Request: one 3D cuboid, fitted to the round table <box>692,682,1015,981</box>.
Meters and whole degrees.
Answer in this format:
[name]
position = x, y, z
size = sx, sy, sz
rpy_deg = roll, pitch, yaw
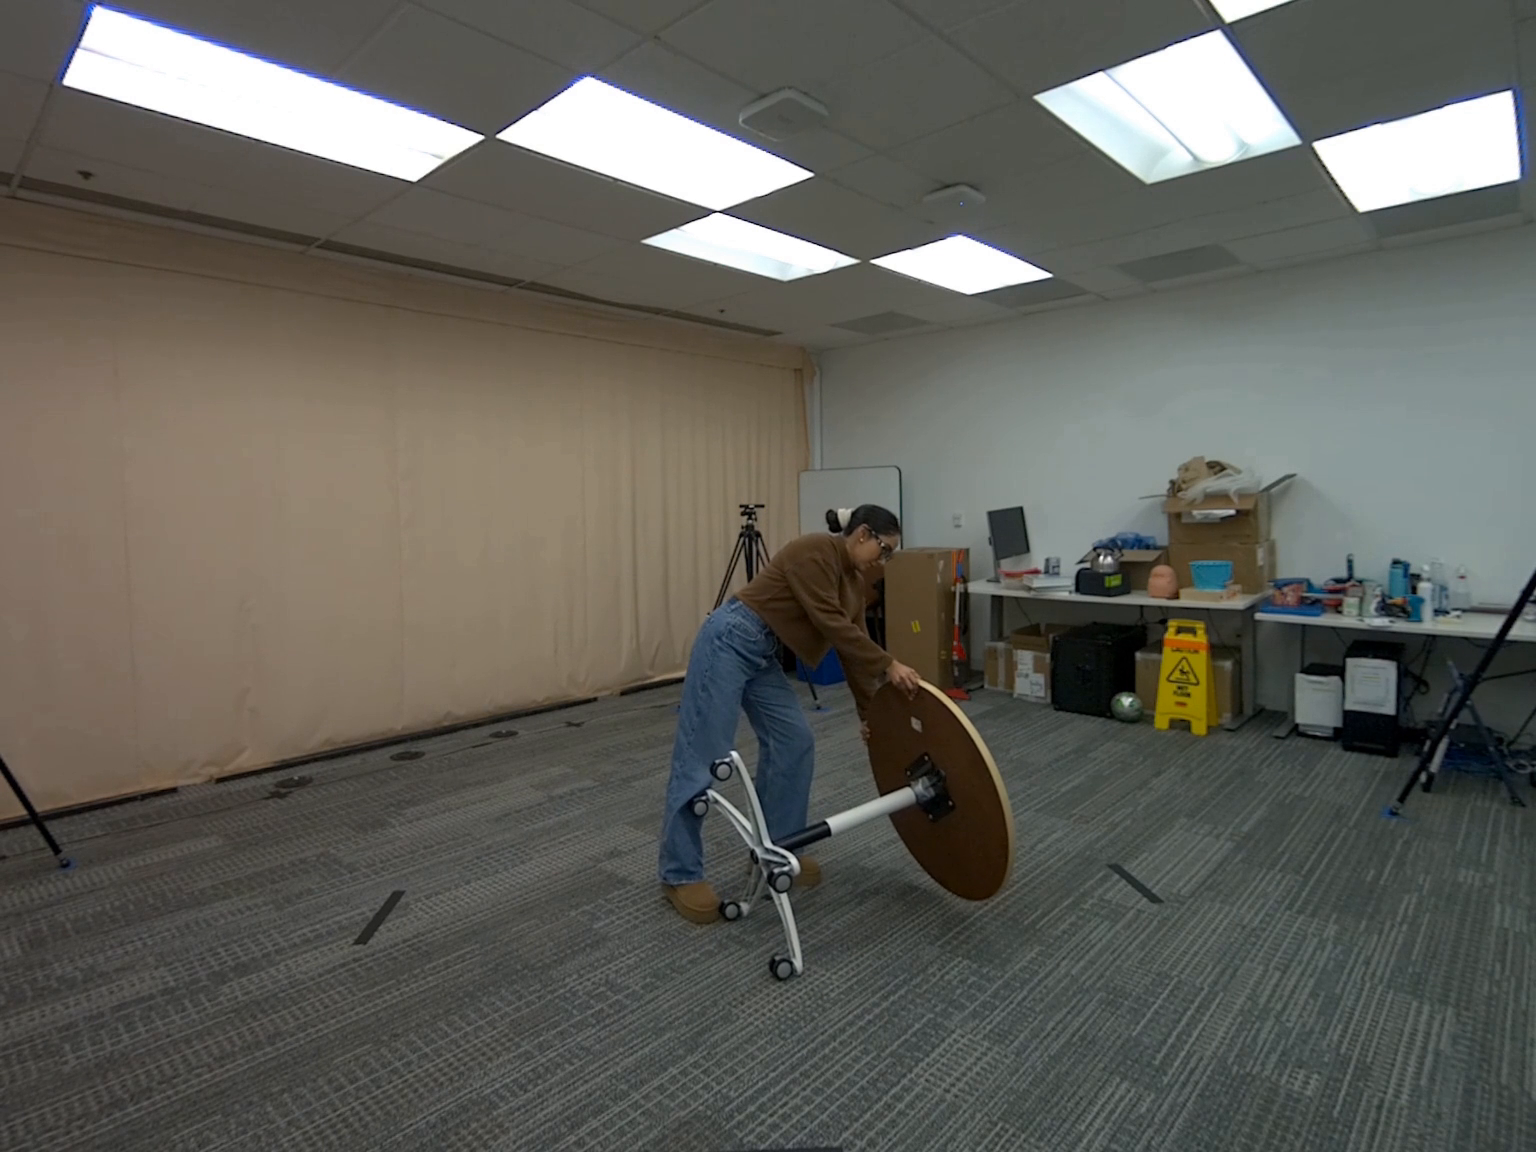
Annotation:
[round table]
position = 0.240, 0.807, 2.753
size = 0.779, 0.759, 0.783
rpy_deg = -14, 9, -23
